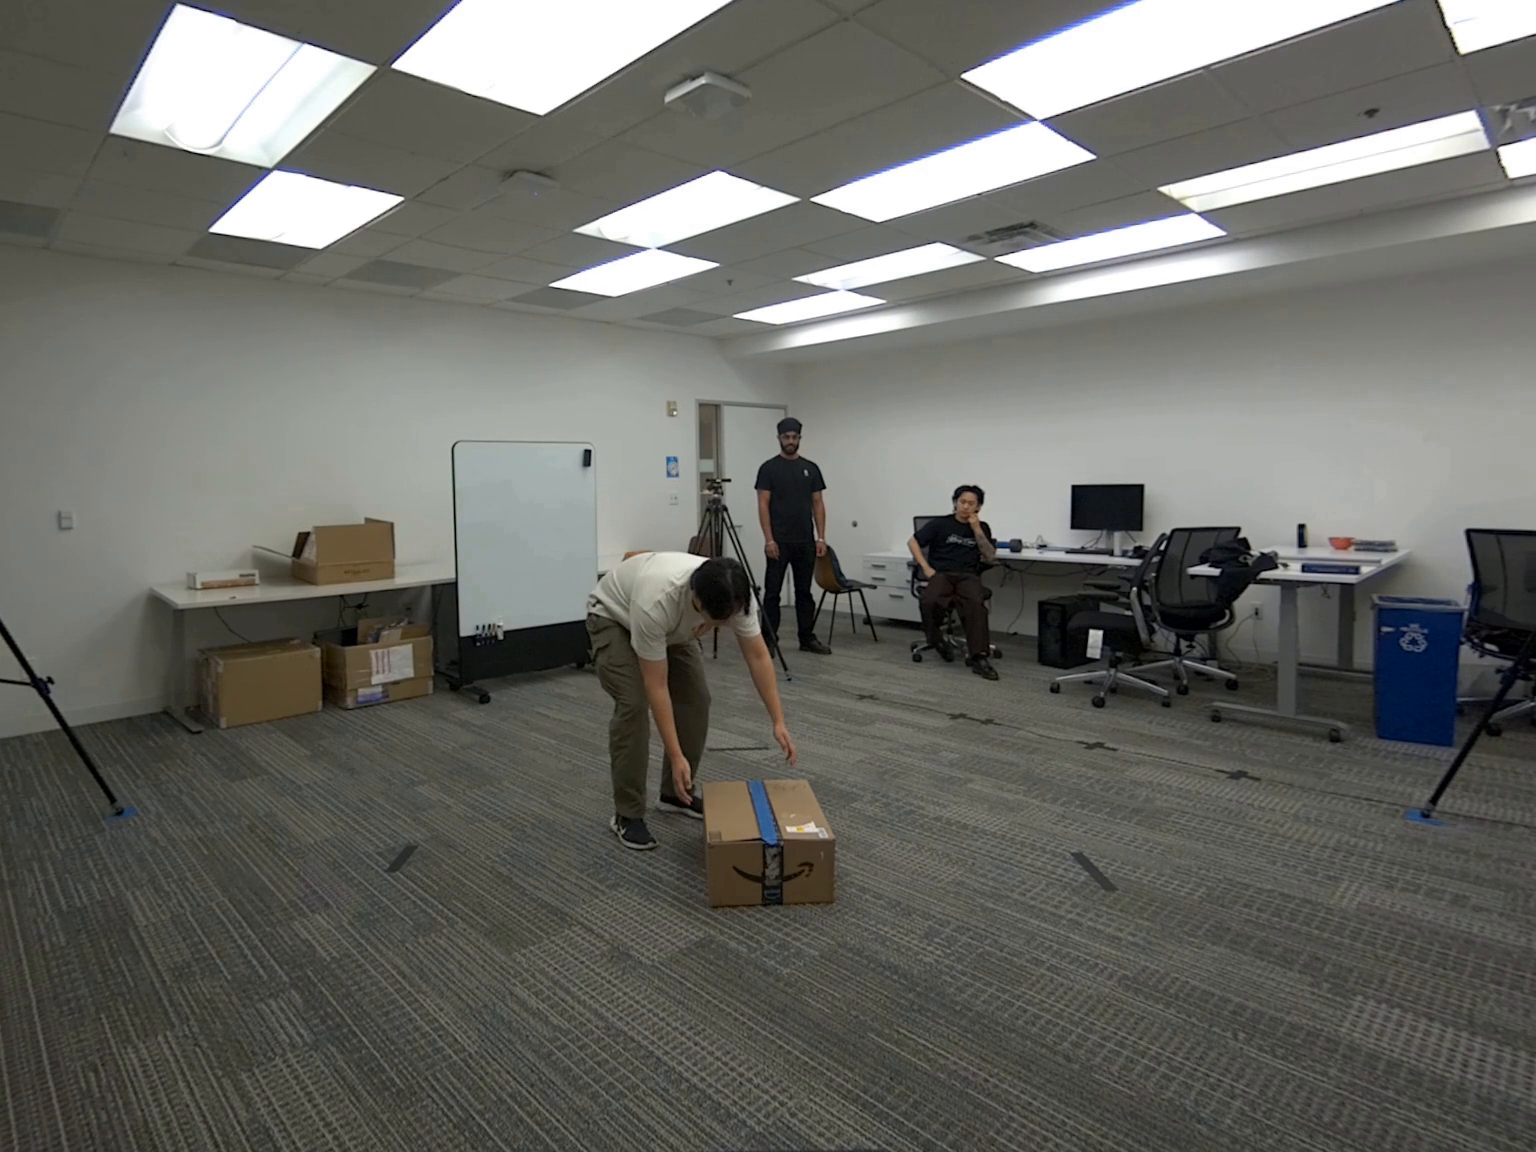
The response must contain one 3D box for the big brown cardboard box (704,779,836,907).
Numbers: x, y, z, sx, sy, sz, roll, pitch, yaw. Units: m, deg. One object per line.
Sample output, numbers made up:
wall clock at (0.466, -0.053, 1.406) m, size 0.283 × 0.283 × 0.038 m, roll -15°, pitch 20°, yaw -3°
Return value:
big brown cardboard box at (-0.017, 0.935, 3.058) m, size 0.416 × 0.232 × 0.594 m, roll -2°, pitch 5°, yaw -6°
